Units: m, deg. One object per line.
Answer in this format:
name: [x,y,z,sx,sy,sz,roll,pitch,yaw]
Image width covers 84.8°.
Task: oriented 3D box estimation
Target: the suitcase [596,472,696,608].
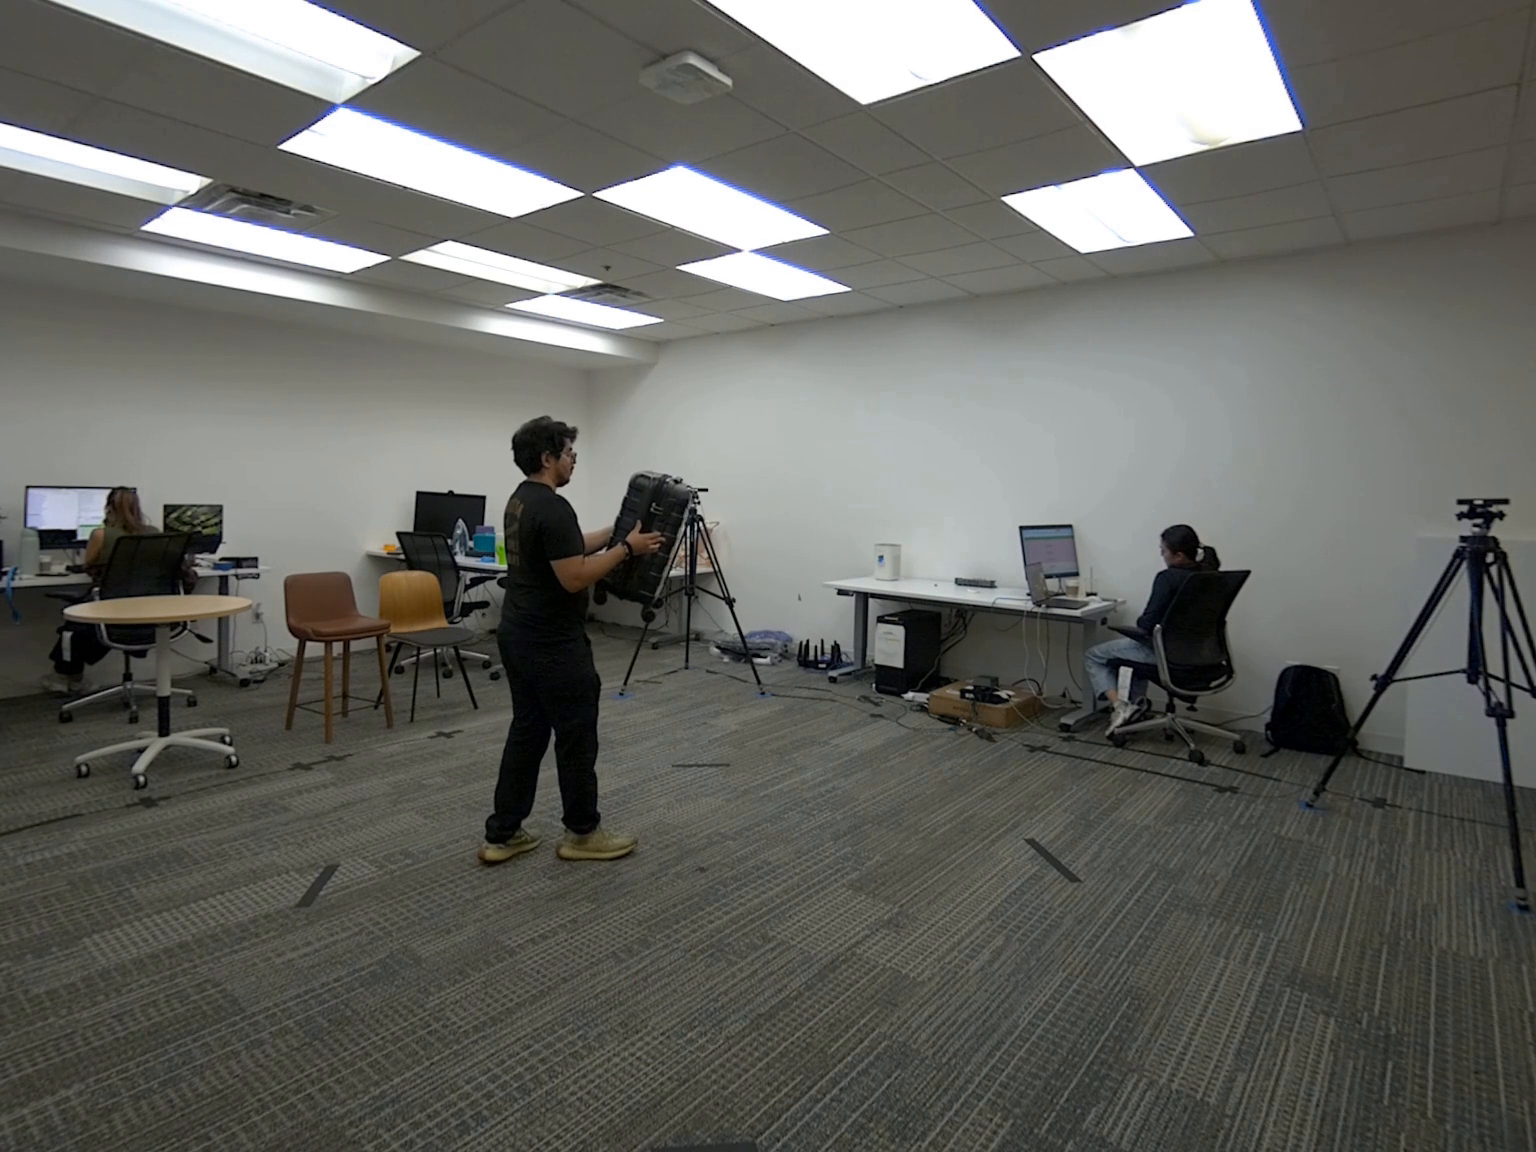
suitcase: [-0.500,-0.149,3.375,0.248,0.547,0.377,19,7,-2]
